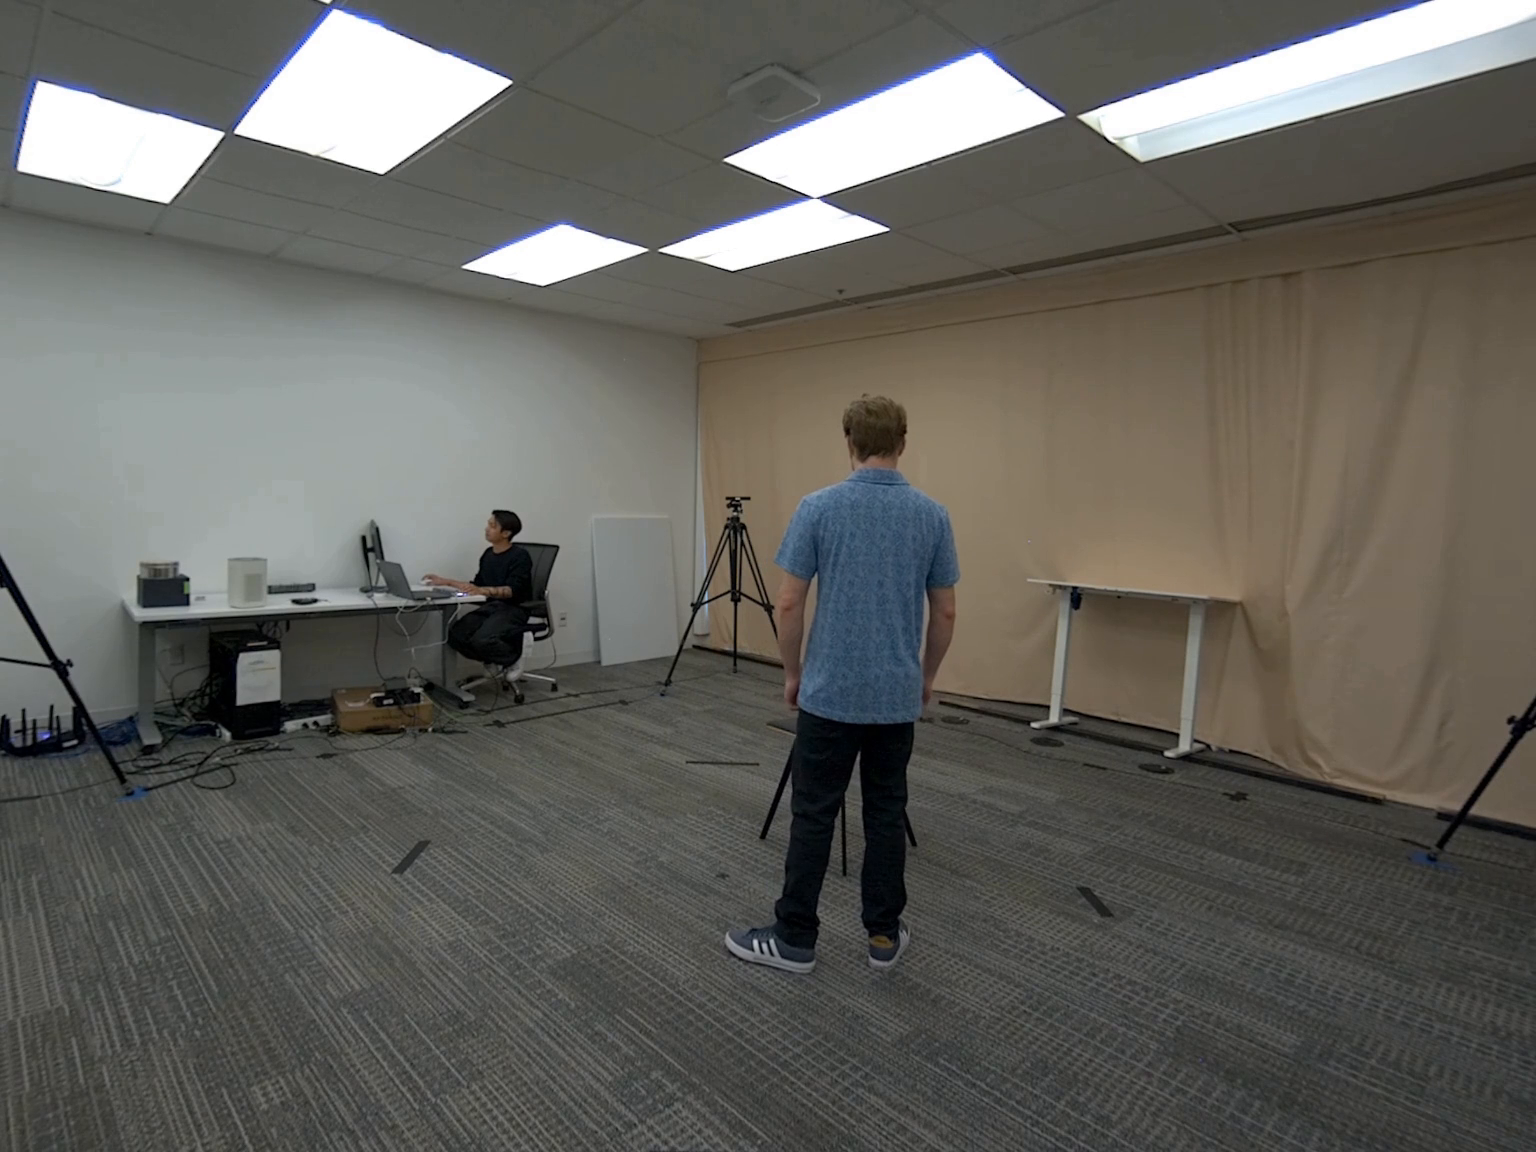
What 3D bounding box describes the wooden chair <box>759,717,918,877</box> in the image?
[{"bbox_3d":[0.286,0.665,3.411,0.467,0.874,0.537,-1,8,-44],"label":"wooden chair"}]
